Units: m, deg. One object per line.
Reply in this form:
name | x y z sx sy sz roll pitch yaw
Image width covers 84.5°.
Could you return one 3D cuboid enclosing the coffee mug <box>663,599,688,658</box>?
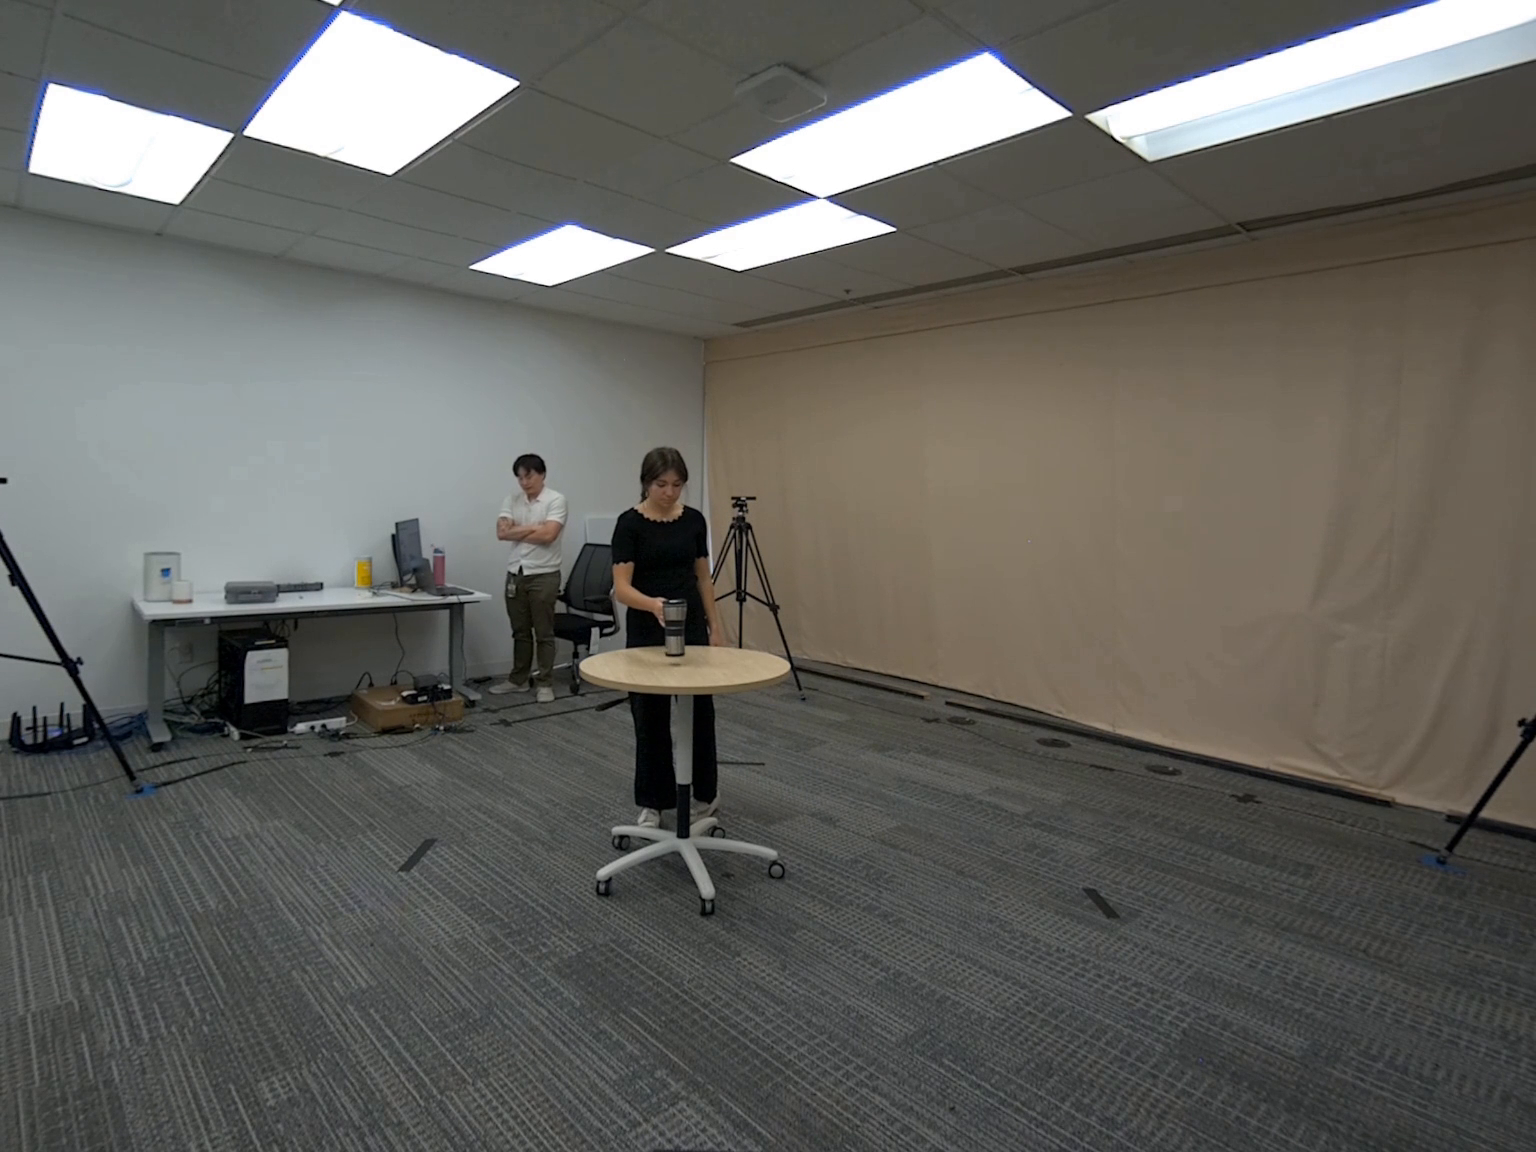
coffee mug | -0.350 0.191 3.074 0.090 0.203 0.119 -2 -1 33
